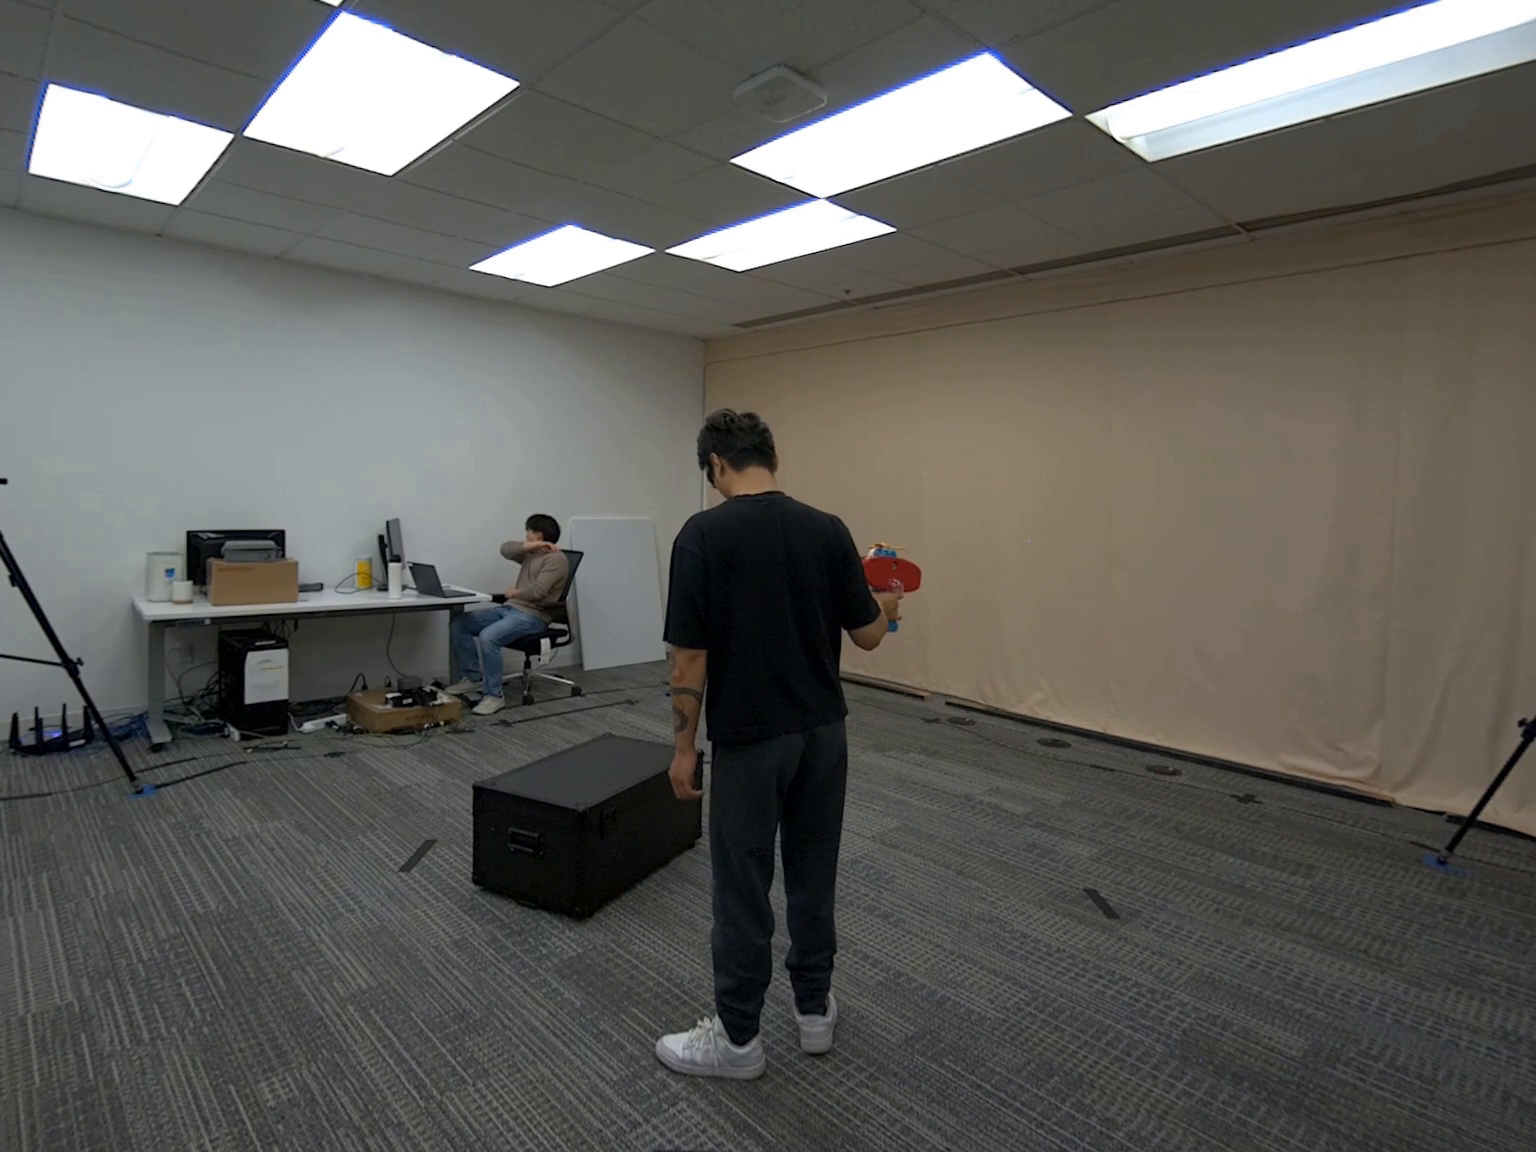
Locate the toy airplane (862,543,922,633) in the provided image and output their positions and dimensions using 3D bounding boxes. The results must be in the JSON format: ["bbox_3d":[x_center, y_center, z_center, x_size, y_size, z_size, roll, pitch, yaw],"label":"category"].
[{"bbox_3d":[0.326,0.036,2.453,0.248,0.259,0.158,-29,2,-44],"label":"toy airplane"}]
